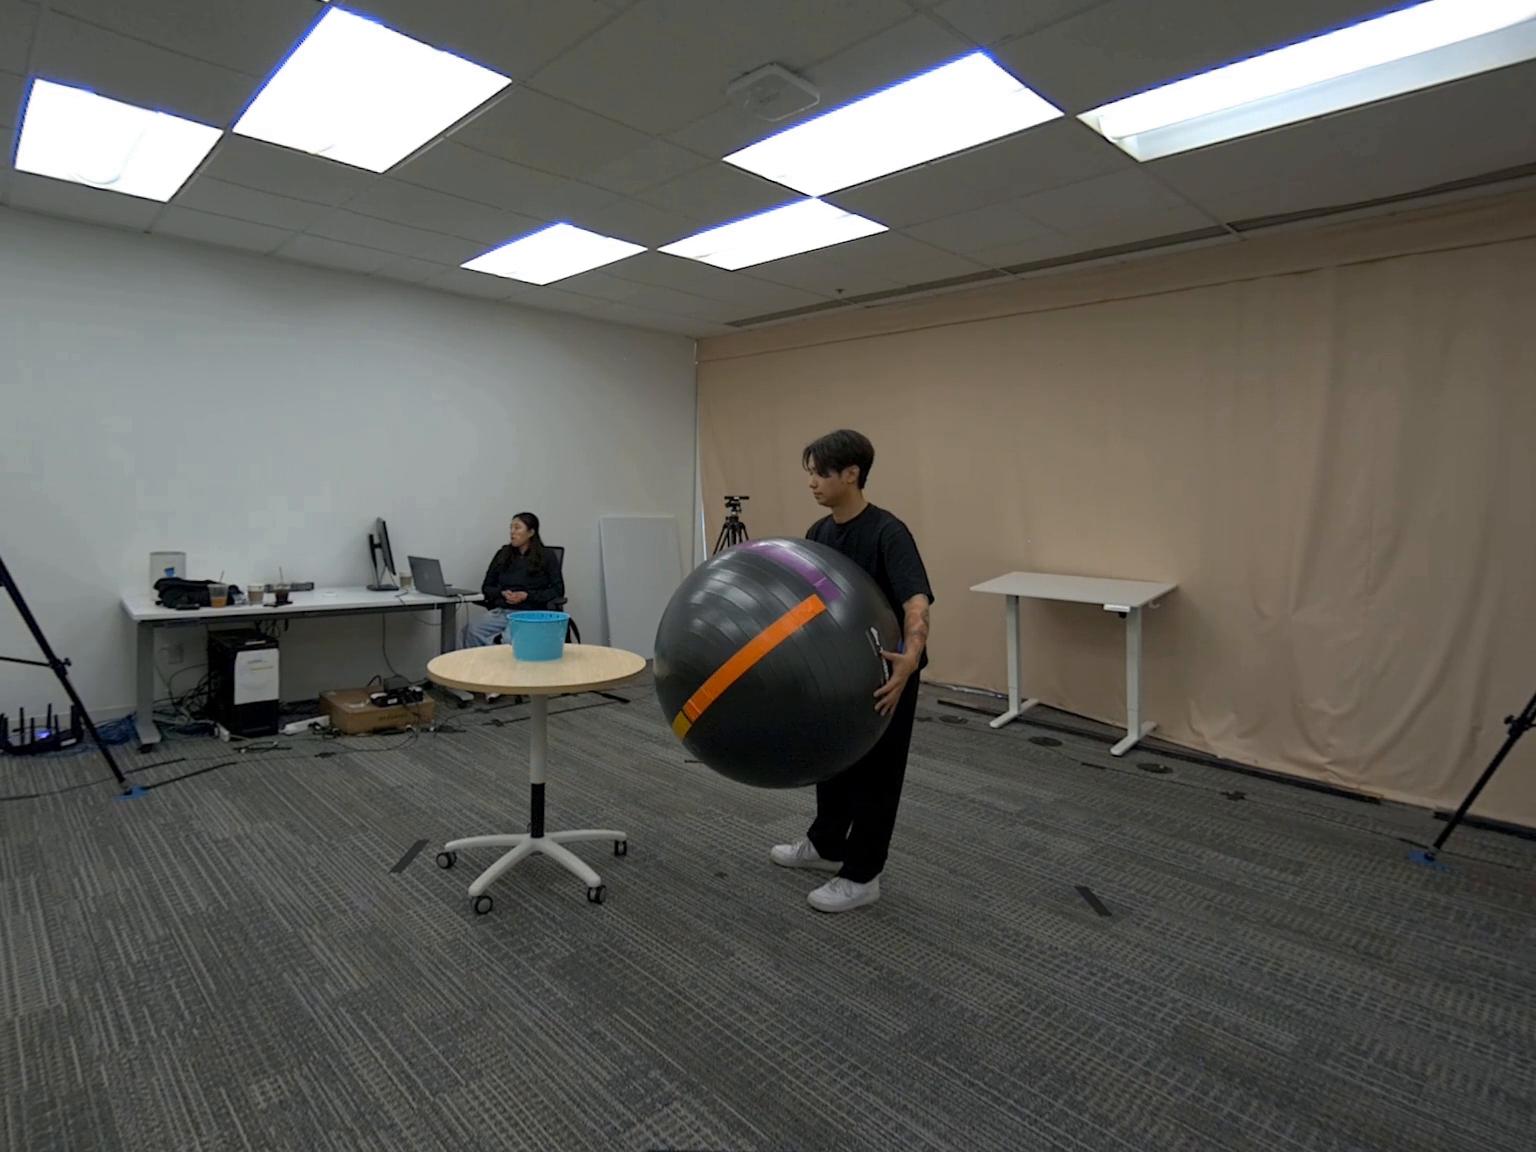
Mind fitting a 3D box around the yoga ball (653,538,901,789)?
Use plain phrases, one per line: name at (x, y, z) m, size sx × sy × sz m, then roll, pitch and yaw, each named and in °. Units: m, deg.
yoga ball at (0.025, 0.267, 2.570) m, size 0.757 × 0.756 × 0.761 m, roll 1°, pitch 4°, yaw -1°
